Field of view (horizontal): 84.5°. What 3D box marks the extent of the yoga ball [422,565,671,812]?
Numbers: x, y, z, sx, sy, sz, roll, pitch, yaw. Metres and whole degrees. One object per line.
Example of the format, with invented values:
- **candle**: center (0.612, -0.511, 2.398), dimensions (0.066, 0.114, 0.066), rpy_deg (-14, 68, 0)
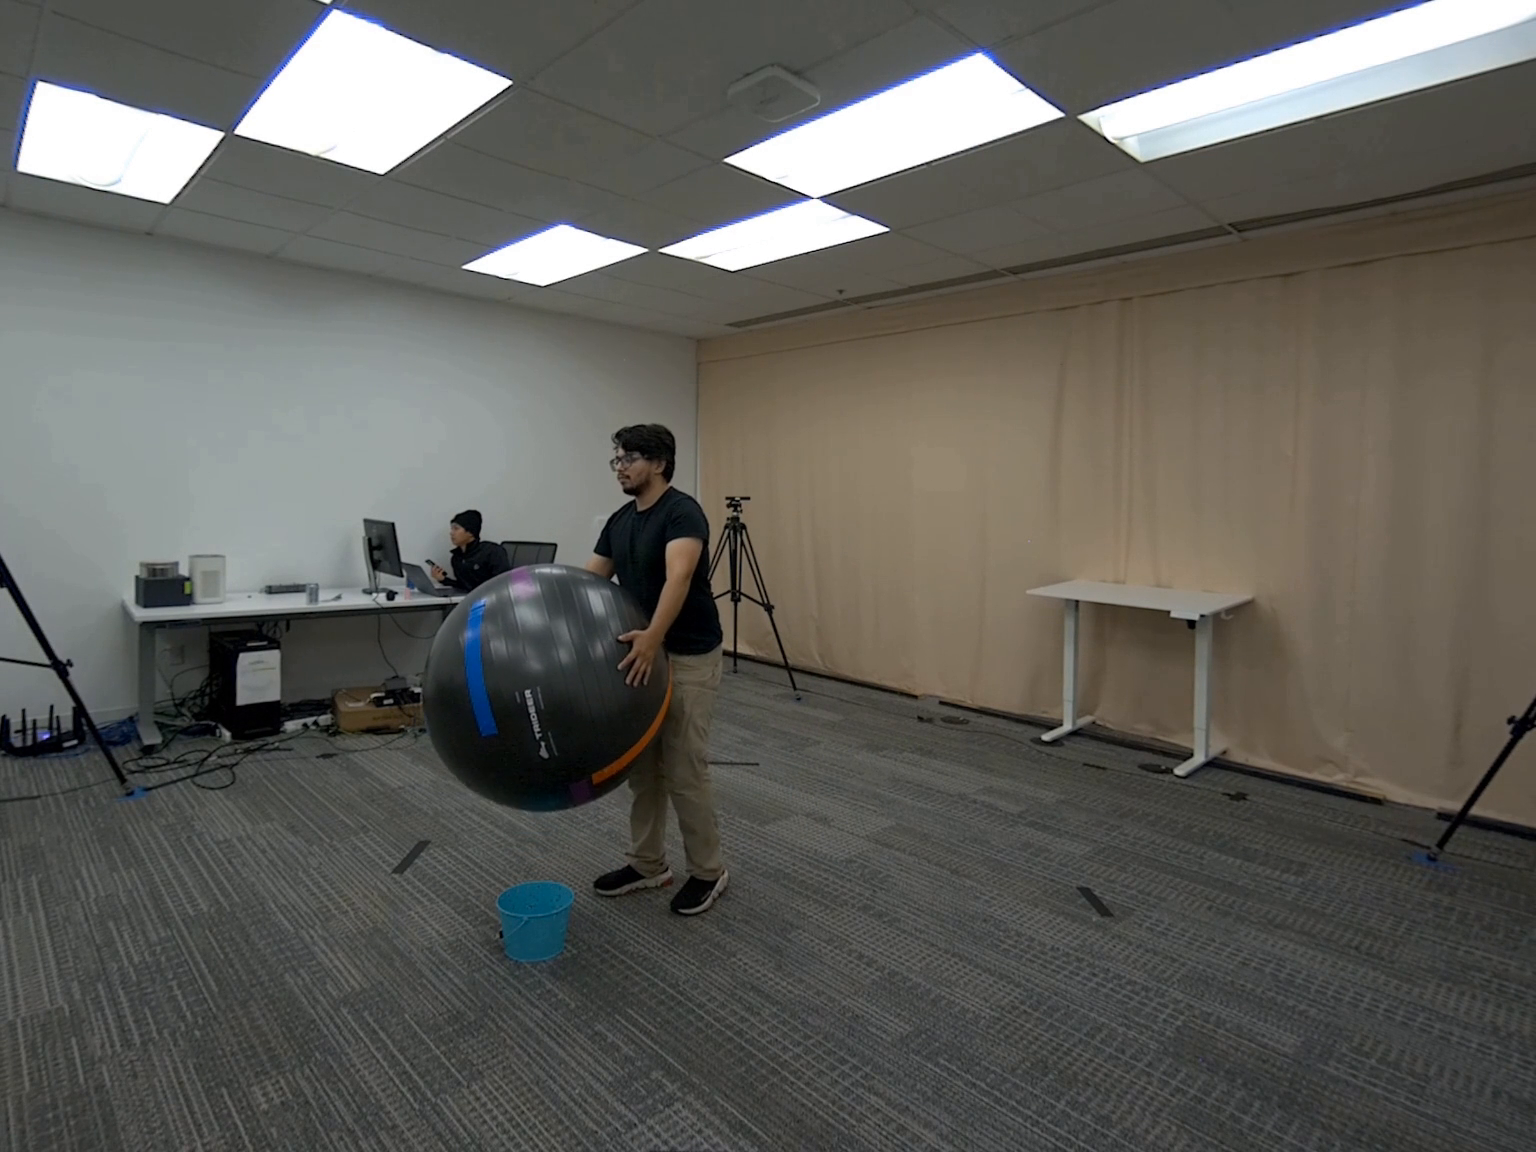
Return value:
- **yoga ball**: center (-0.693, 0.355, 2.638), dimensions (0.757, 0.756, 0.761), rpy_deg (1, 4, -1)
